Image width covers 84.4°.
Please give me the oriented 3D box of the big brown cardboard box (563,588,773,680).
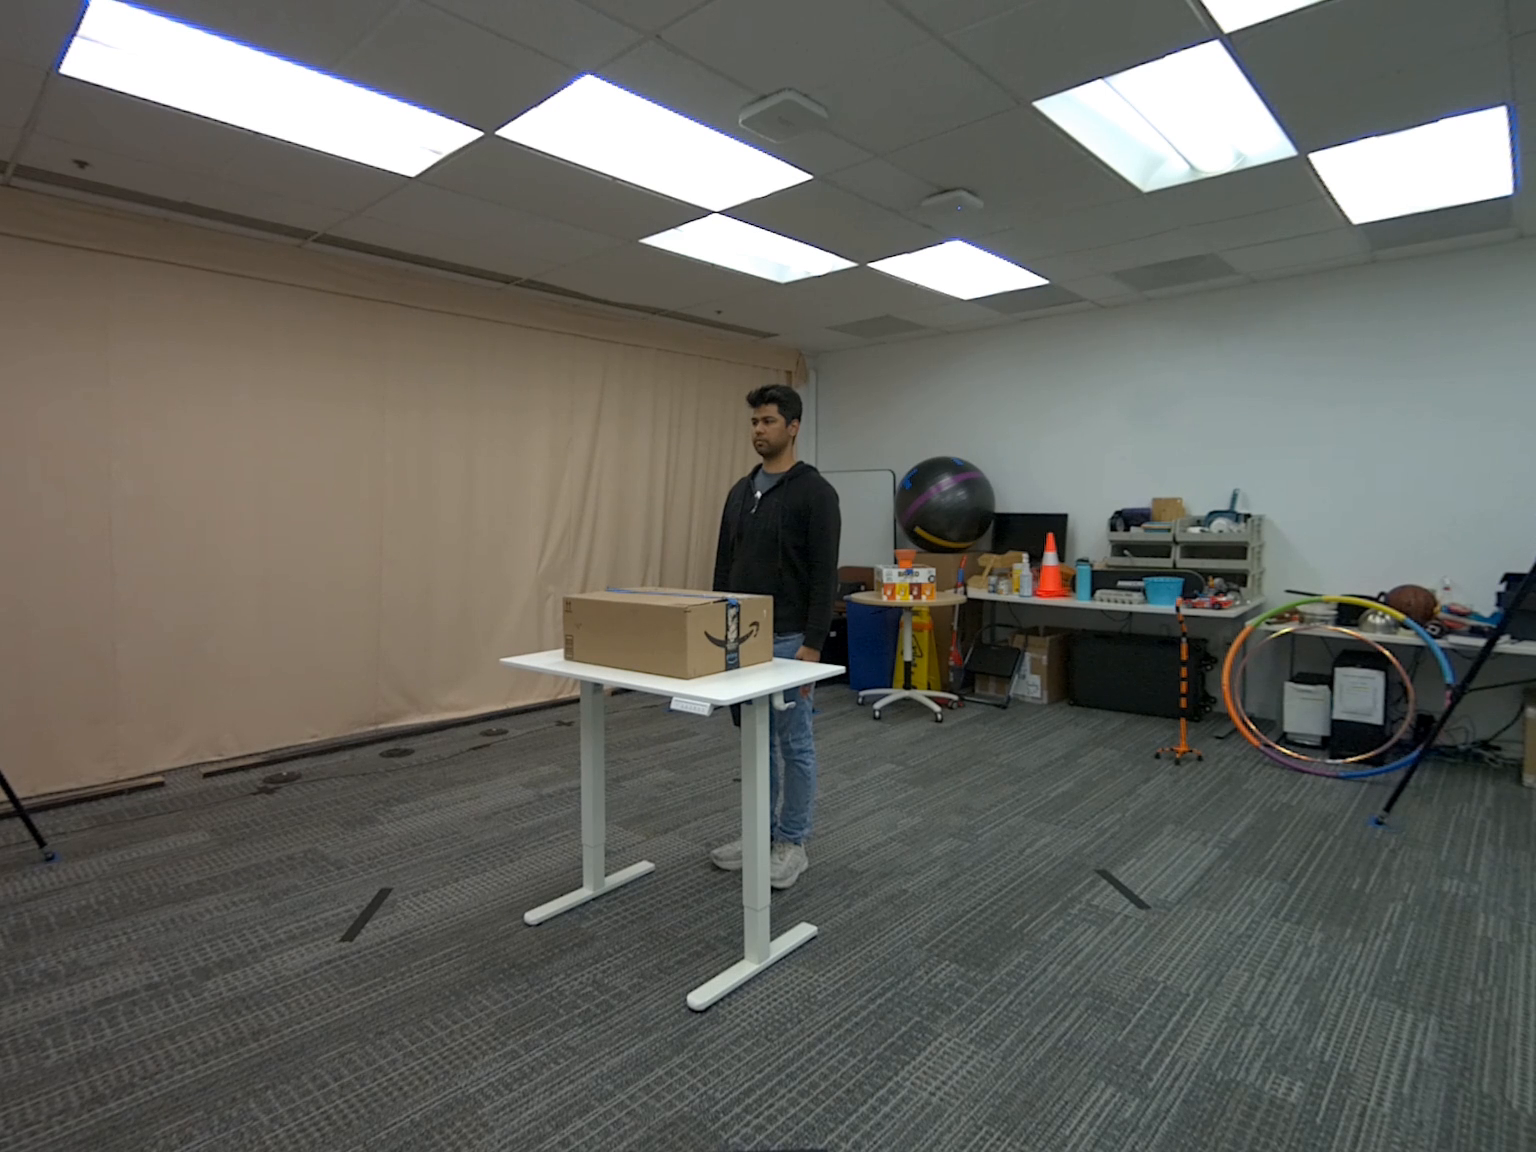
[{"bbox_3d":[-0.326,0.170,2.789,0.608,0.233,0.405,1,5,39],"label":"big brown cardboard box"}]
